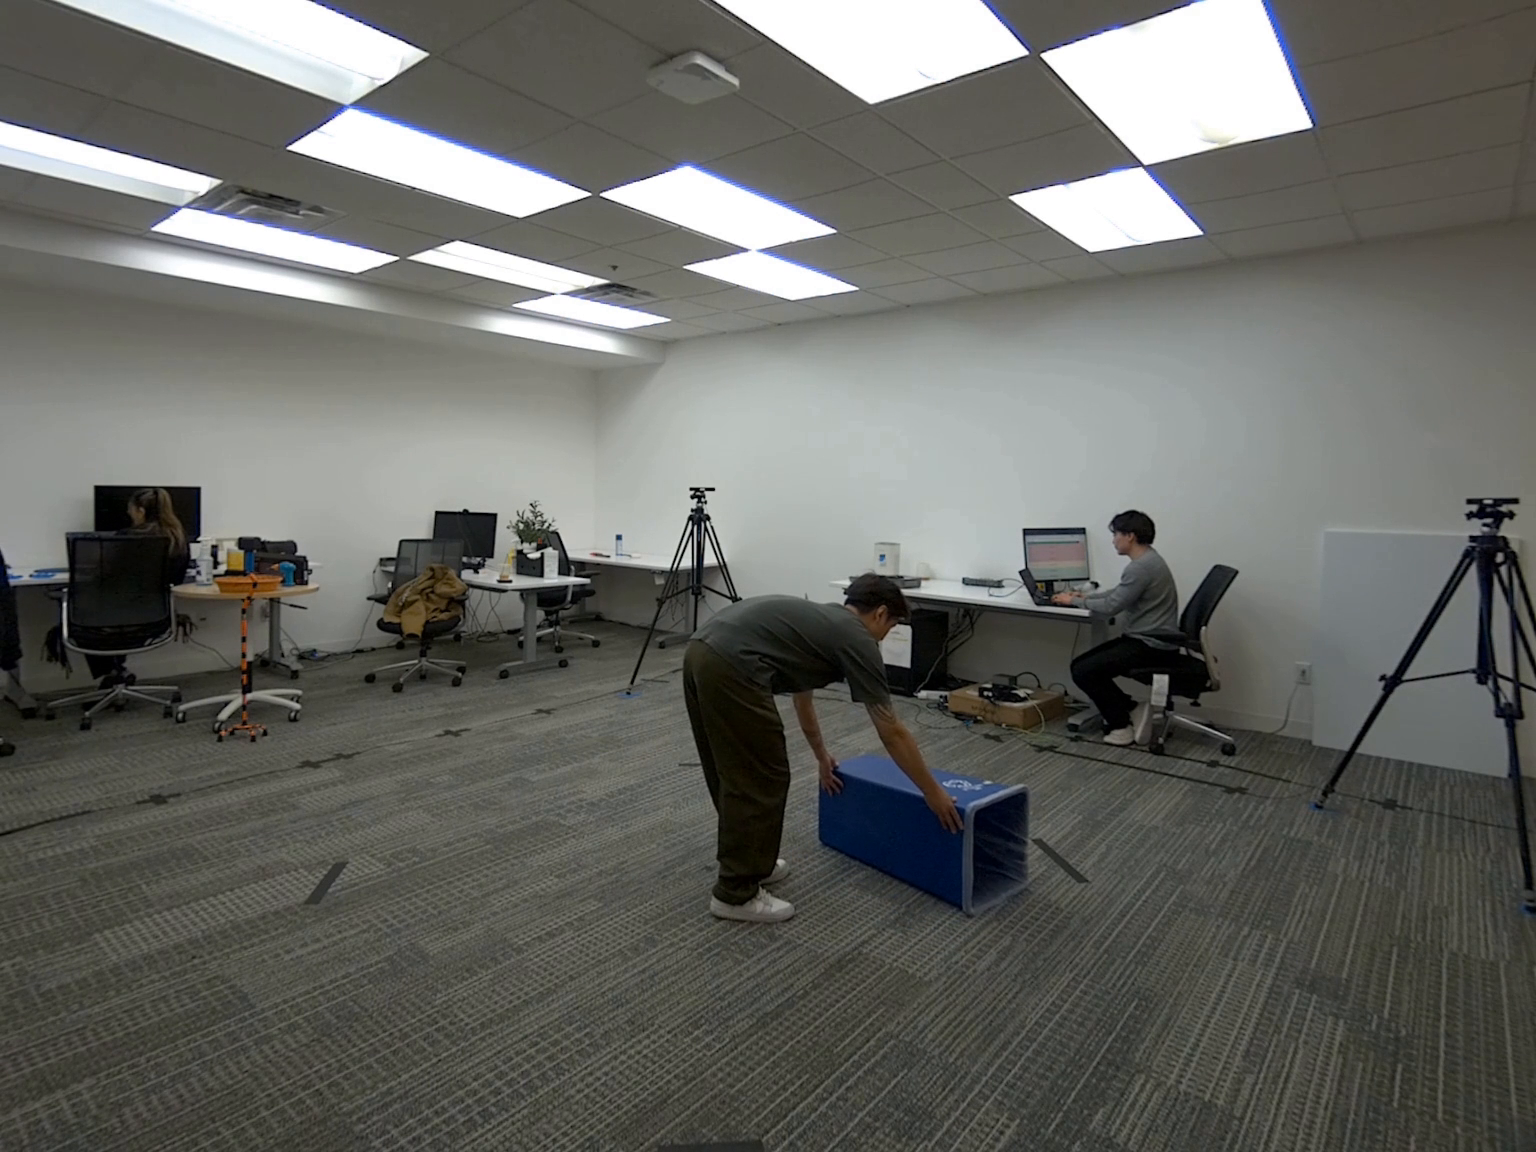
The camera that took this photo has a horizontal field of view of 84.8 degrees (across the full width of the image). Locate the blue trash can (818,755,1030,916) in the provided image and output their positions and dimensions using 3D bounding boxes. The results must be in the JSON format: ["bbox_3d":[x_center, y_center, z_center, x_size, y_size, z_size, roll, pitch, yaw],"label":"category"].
[{"bbox_3d":[0.547,0.904,3.172,0.367,0.373,0.737,-3,5,-42],"label":"blue trash can"}]
